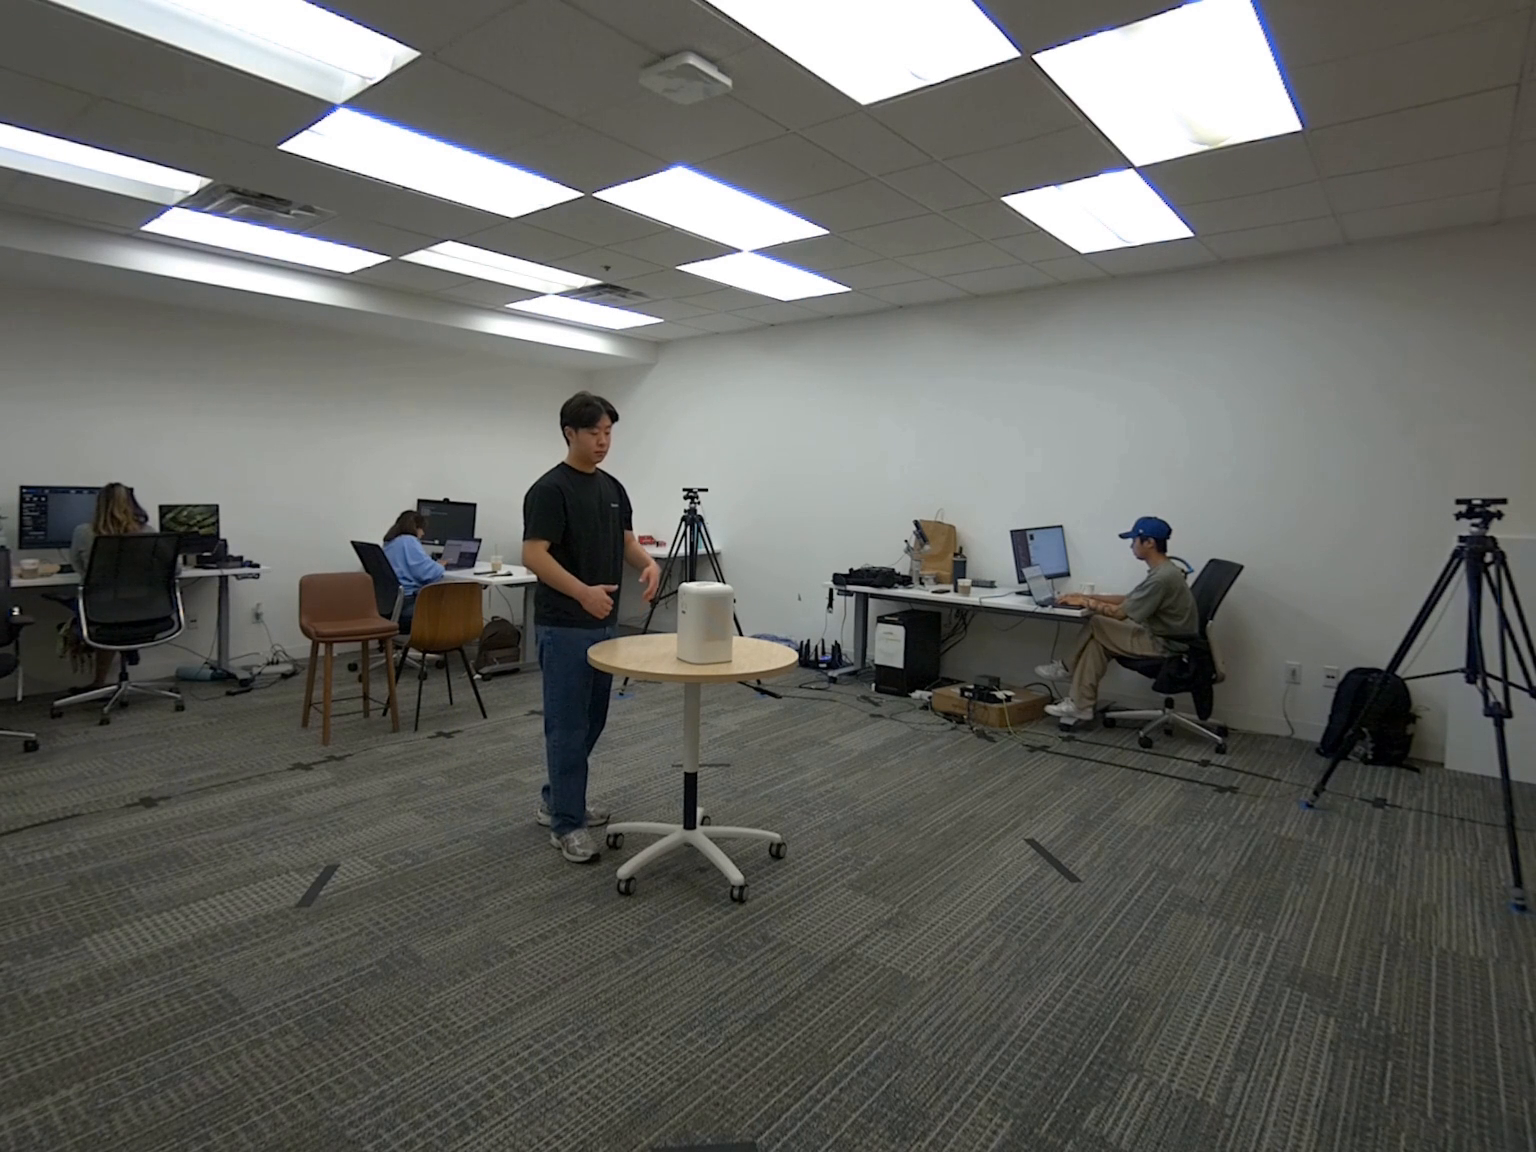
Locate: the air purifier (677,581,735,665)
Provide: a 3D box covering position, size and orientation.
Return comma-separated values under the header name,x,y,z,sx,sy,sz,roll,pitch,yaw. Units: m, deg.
name,x,y,z,sx,sy,sz,roll,pitch,yaw
air purifier,-0.228,0.154,2.966,0.167,0.264,0.176,-2,4,-31
